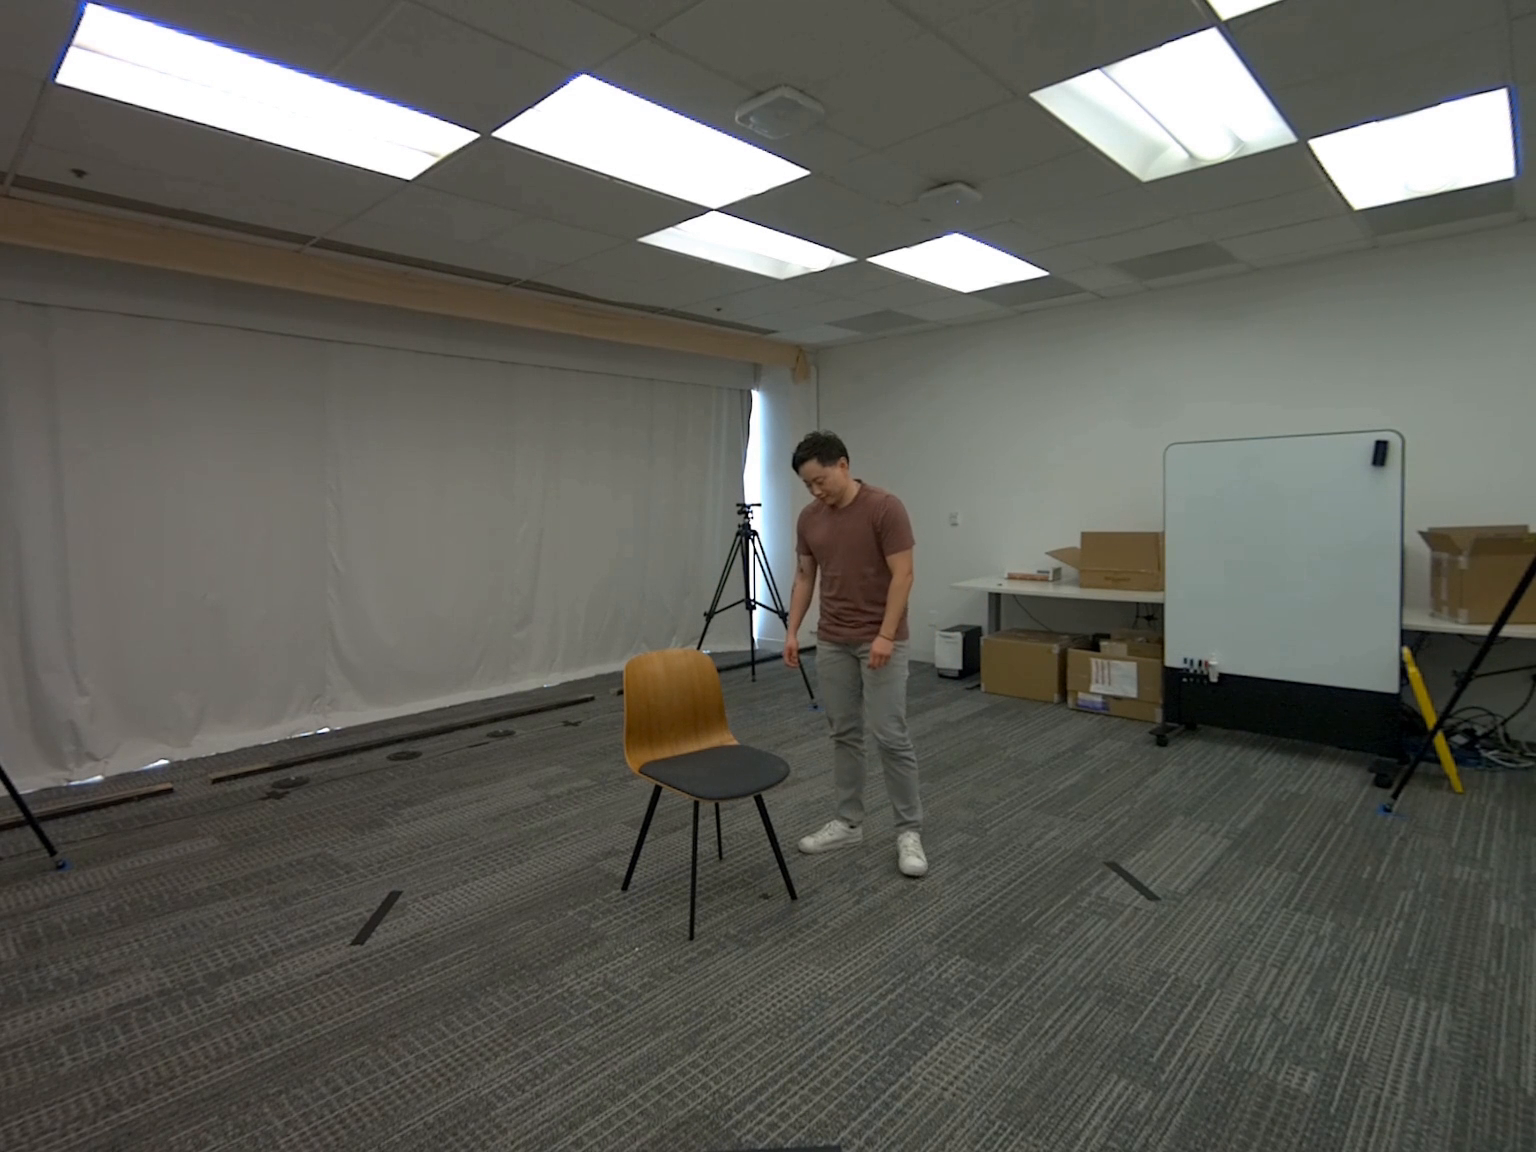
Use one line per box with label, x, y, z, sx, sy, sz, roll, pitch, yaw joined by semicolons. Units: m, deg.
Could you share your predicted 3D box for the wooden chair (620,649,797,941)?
wooden chair;-0.214;0.716;2.961;0.464;0.877;0.539;-4;0;-38
